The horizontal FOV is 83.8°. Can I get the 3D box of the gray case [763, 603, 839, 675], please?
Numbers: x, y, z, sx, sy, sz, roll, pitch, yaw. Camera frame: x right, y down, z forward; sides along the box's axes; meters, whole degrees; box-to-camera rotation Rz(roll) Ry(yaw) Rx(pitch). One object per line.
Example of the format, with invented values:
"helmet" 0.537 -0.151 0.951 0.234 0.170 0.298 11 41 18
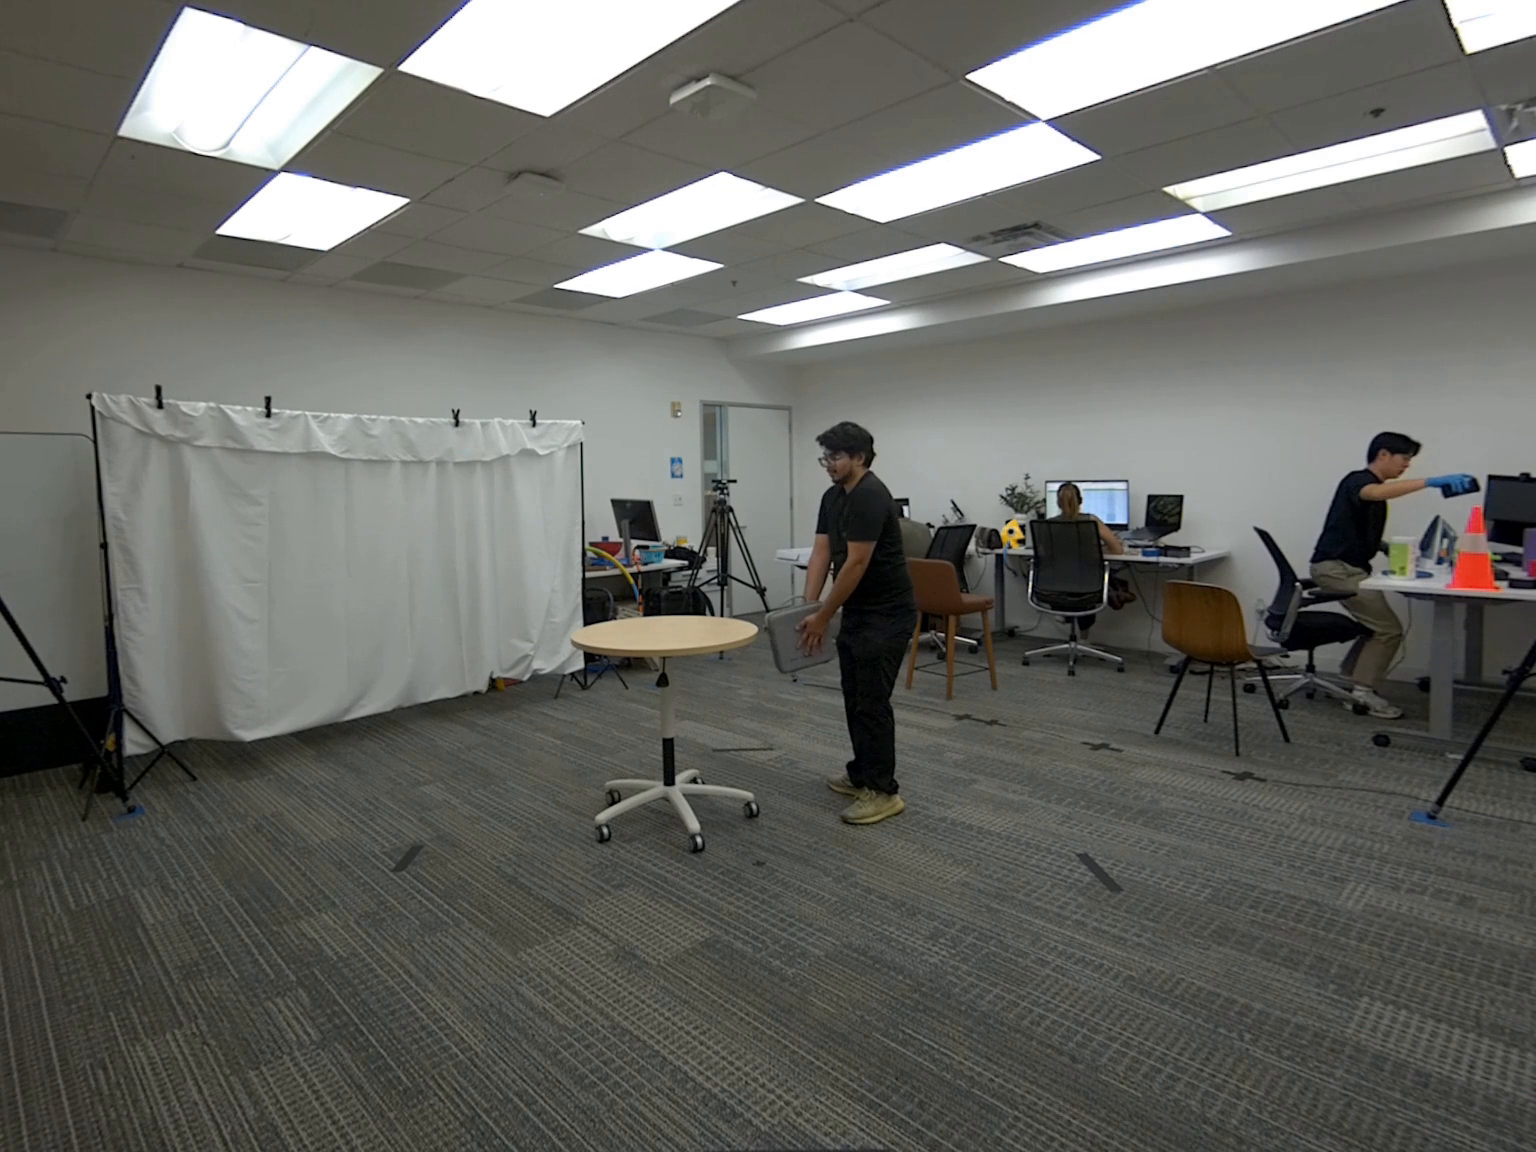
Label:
"gray case" 0.130 0.245 3.537 0.254 0.259 0.106 -12 6 -14
